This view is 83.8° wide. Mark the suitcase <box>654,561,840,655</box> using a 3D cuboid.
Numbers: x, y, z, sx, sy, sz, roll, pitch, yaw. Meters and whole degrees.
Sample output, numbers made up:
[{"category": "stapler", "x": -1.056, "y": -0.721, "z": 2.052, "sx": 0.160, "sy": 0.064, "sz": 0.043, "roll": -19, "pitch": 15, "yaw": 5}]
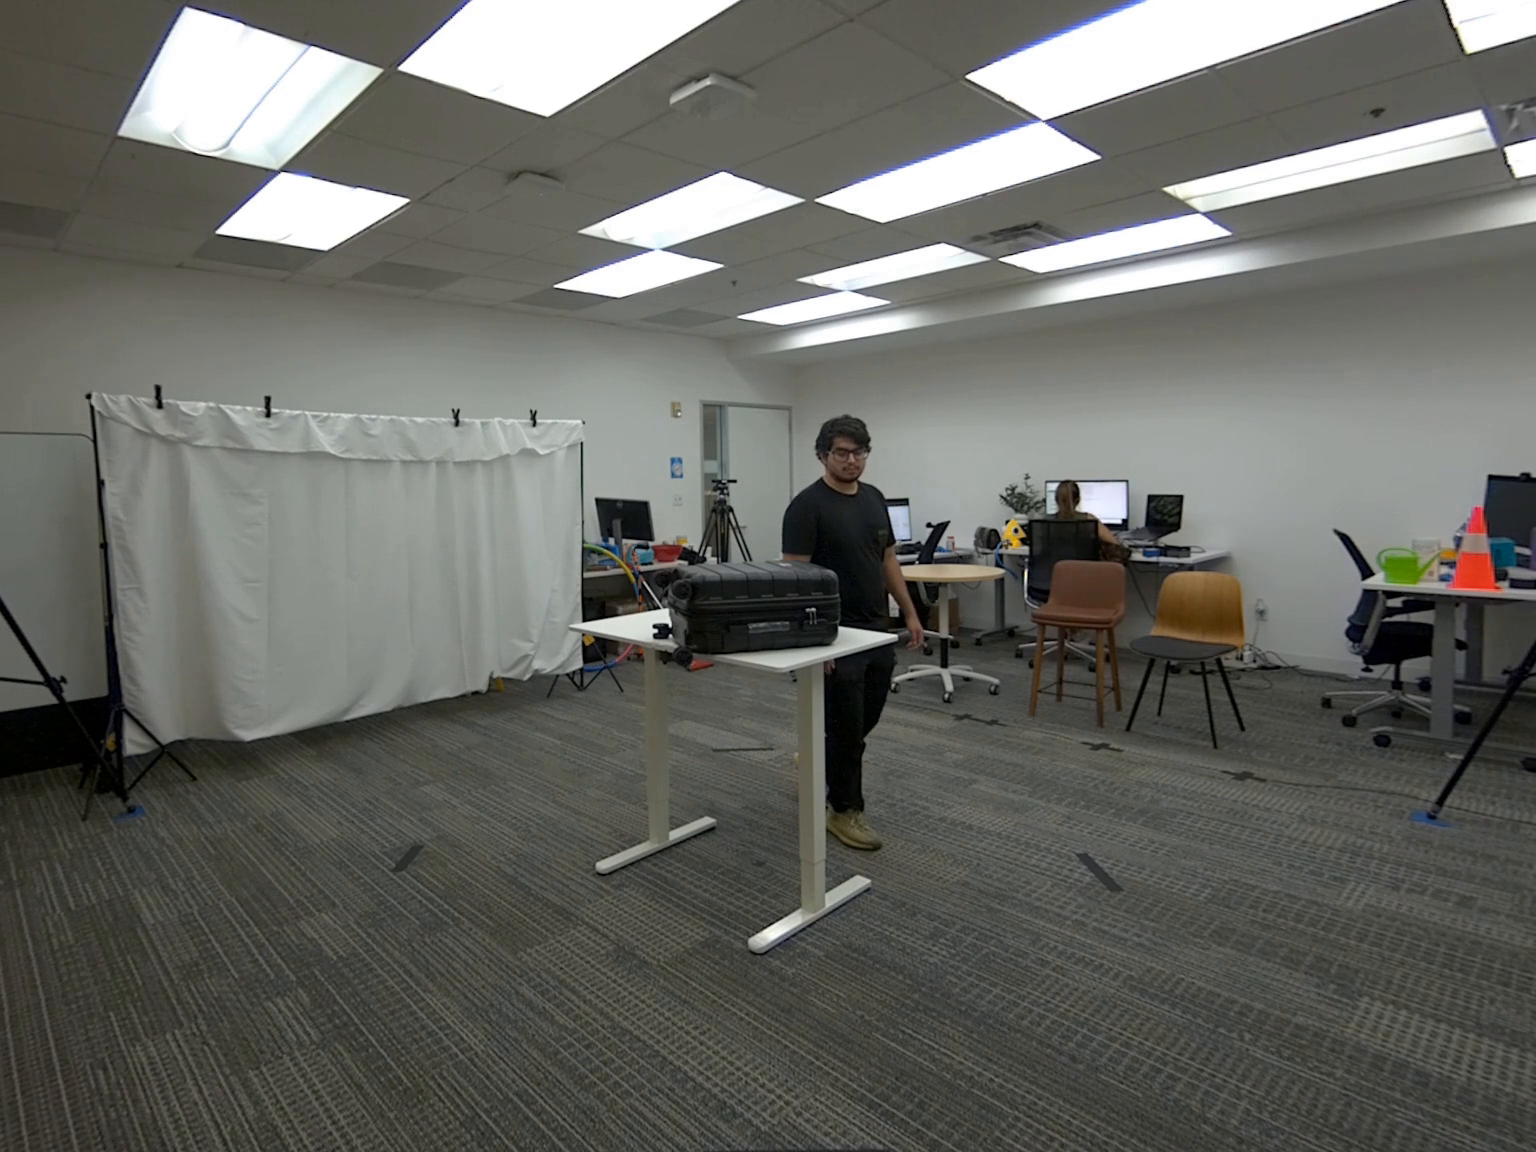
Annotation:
[{"category": "suitcase", "x": -0.060, "y": 0.095, "z": 2.719, "sx": 0.541, "sy": 0.247, "sz": 0.383, "roll": -3, "pitch": 6, "yaw": -16}]
